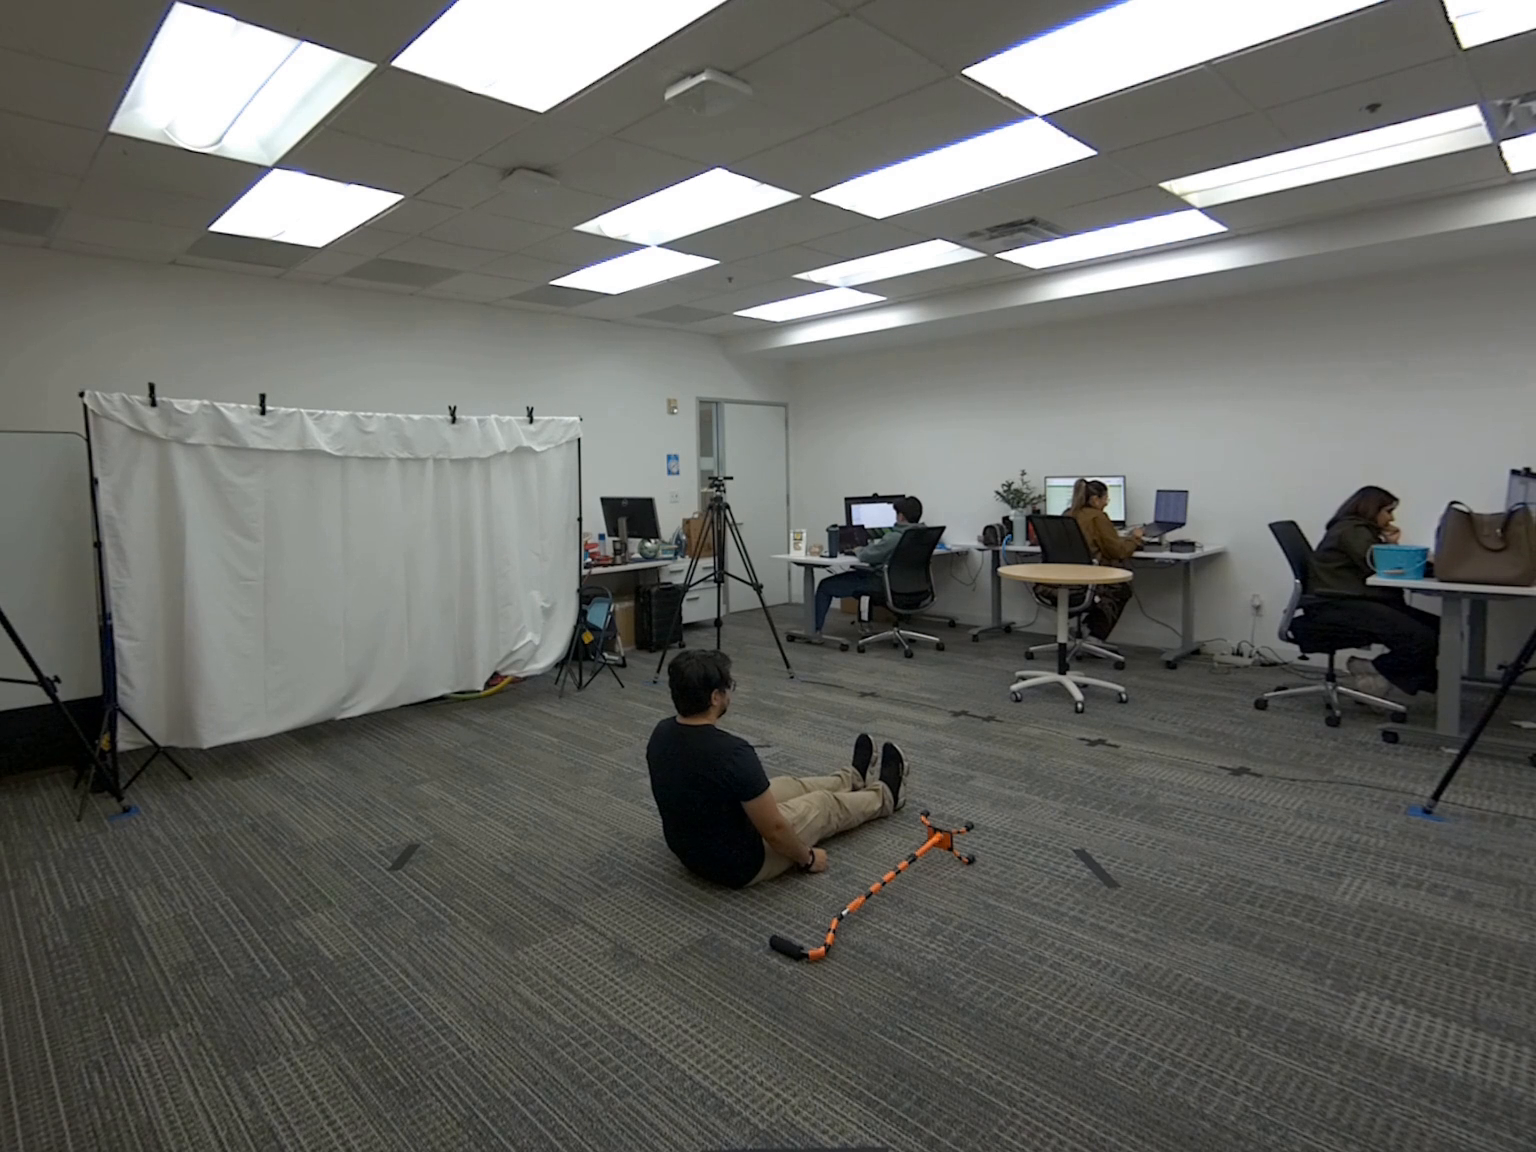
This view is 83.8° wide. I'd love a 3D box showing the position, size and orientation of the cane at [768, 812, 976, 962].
[{"bbox_3d":[0.367,1.011,2.799,0.213,0.150,0.888,6,15,41],"label":"cane"}]
